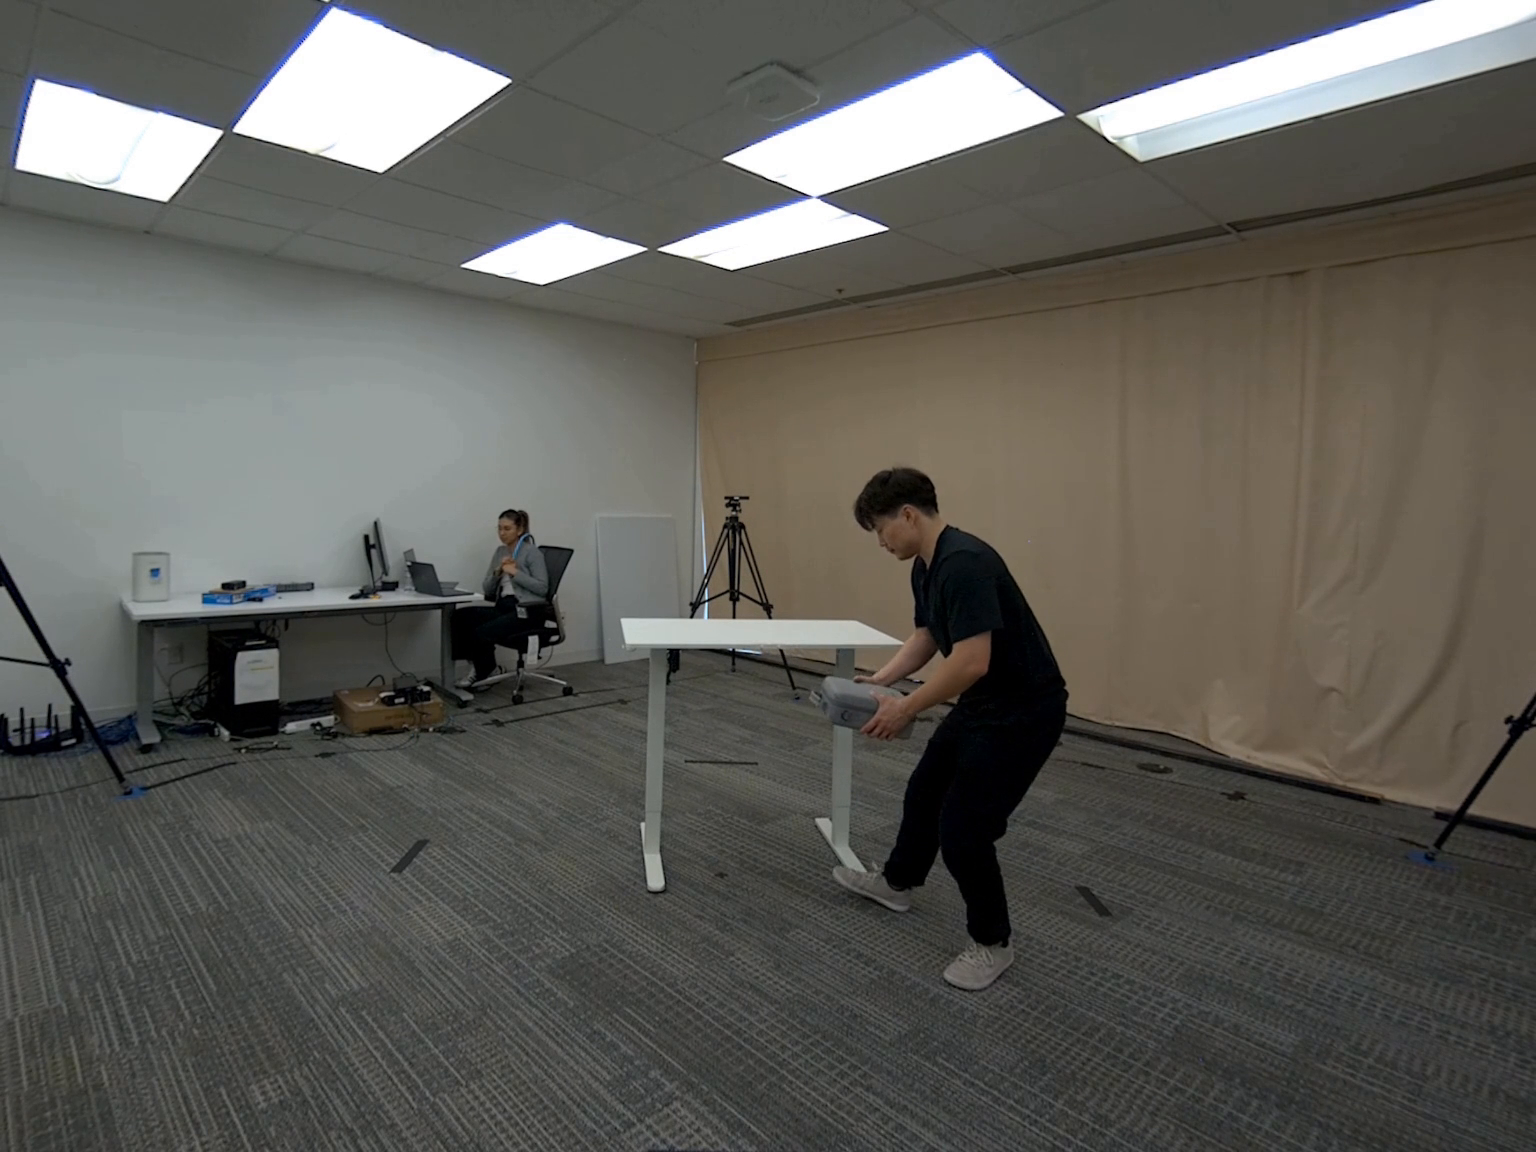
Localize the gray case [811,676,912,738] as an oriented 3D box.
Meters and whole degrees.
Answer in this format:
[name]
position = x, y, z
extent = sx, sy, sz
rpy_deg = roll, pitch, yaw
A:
[gray case]
position = 0.278, 0.393, 2.512
extent = 0.262, 0.104, 0.256
rpy_deg = 12, 4, 4
